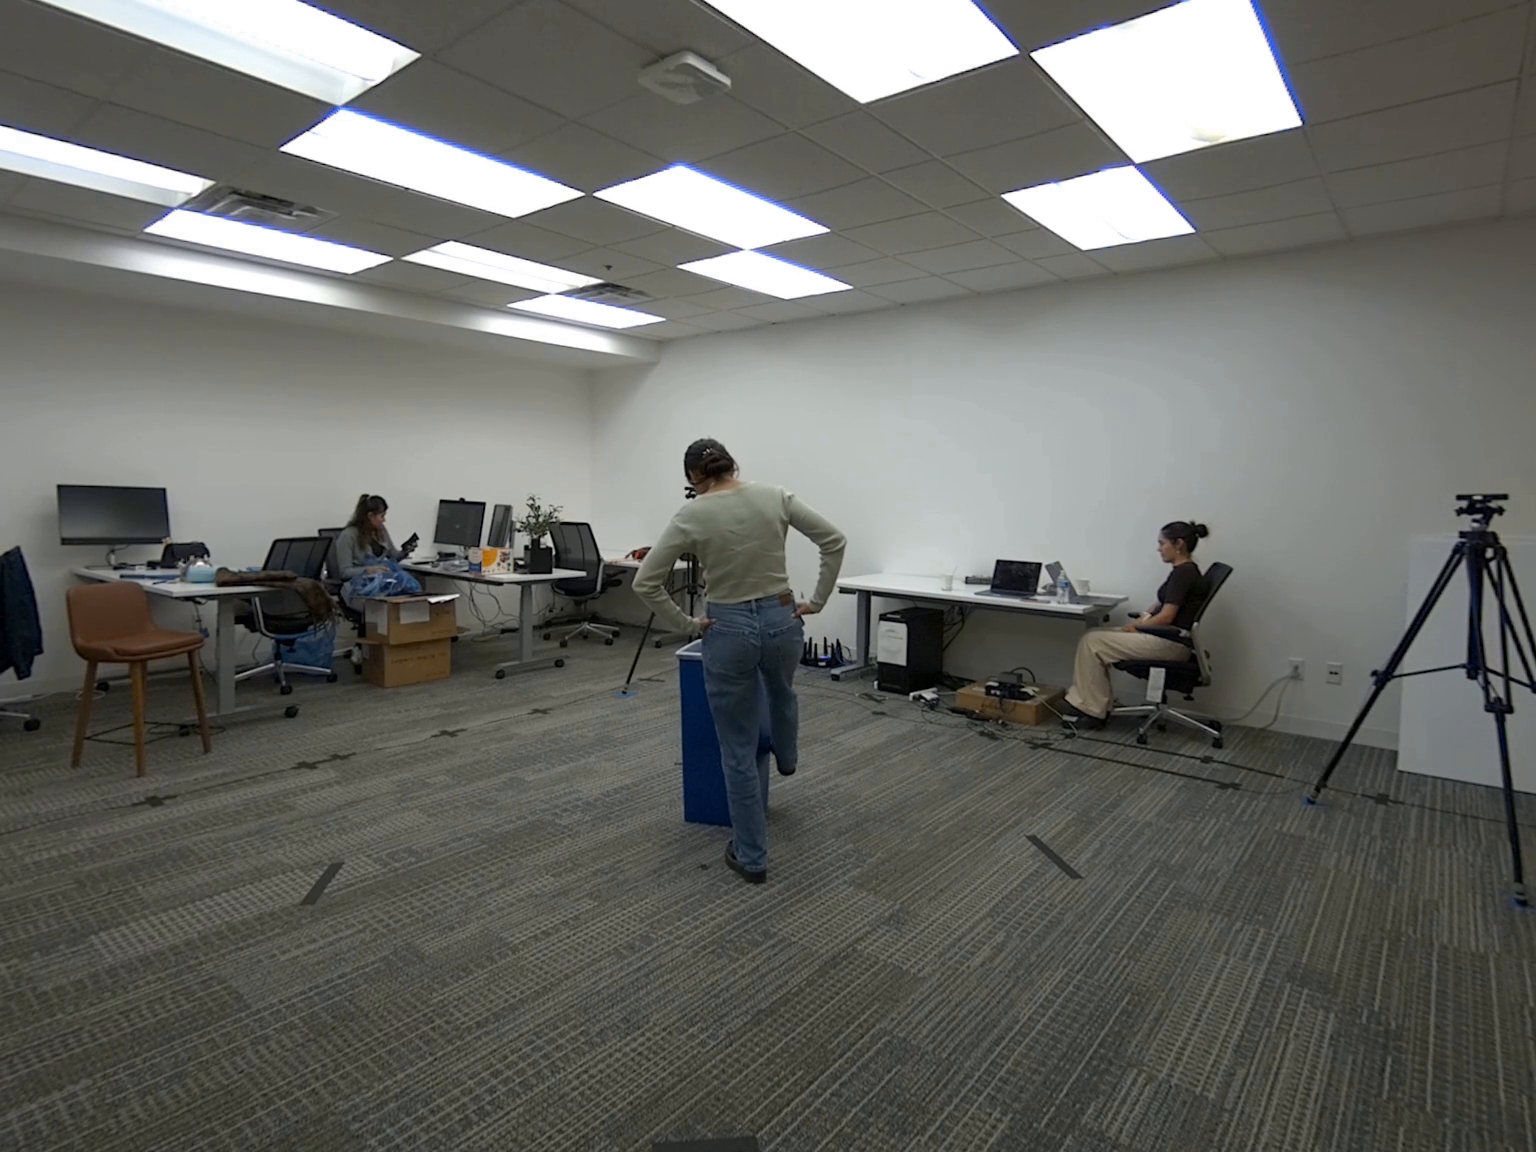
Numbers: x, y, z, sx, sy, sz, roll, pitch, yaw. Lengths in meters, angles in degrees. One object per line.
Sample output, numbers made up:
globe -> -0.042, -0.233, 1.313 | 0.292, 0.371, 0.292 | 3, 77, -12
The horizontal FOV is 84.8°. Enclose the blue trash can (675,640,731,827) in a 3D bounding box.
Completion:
blue trash can -> -0.186, 0.654, 3.634 | 0.384, 0.711, 0.369 | 1, 4, 14
